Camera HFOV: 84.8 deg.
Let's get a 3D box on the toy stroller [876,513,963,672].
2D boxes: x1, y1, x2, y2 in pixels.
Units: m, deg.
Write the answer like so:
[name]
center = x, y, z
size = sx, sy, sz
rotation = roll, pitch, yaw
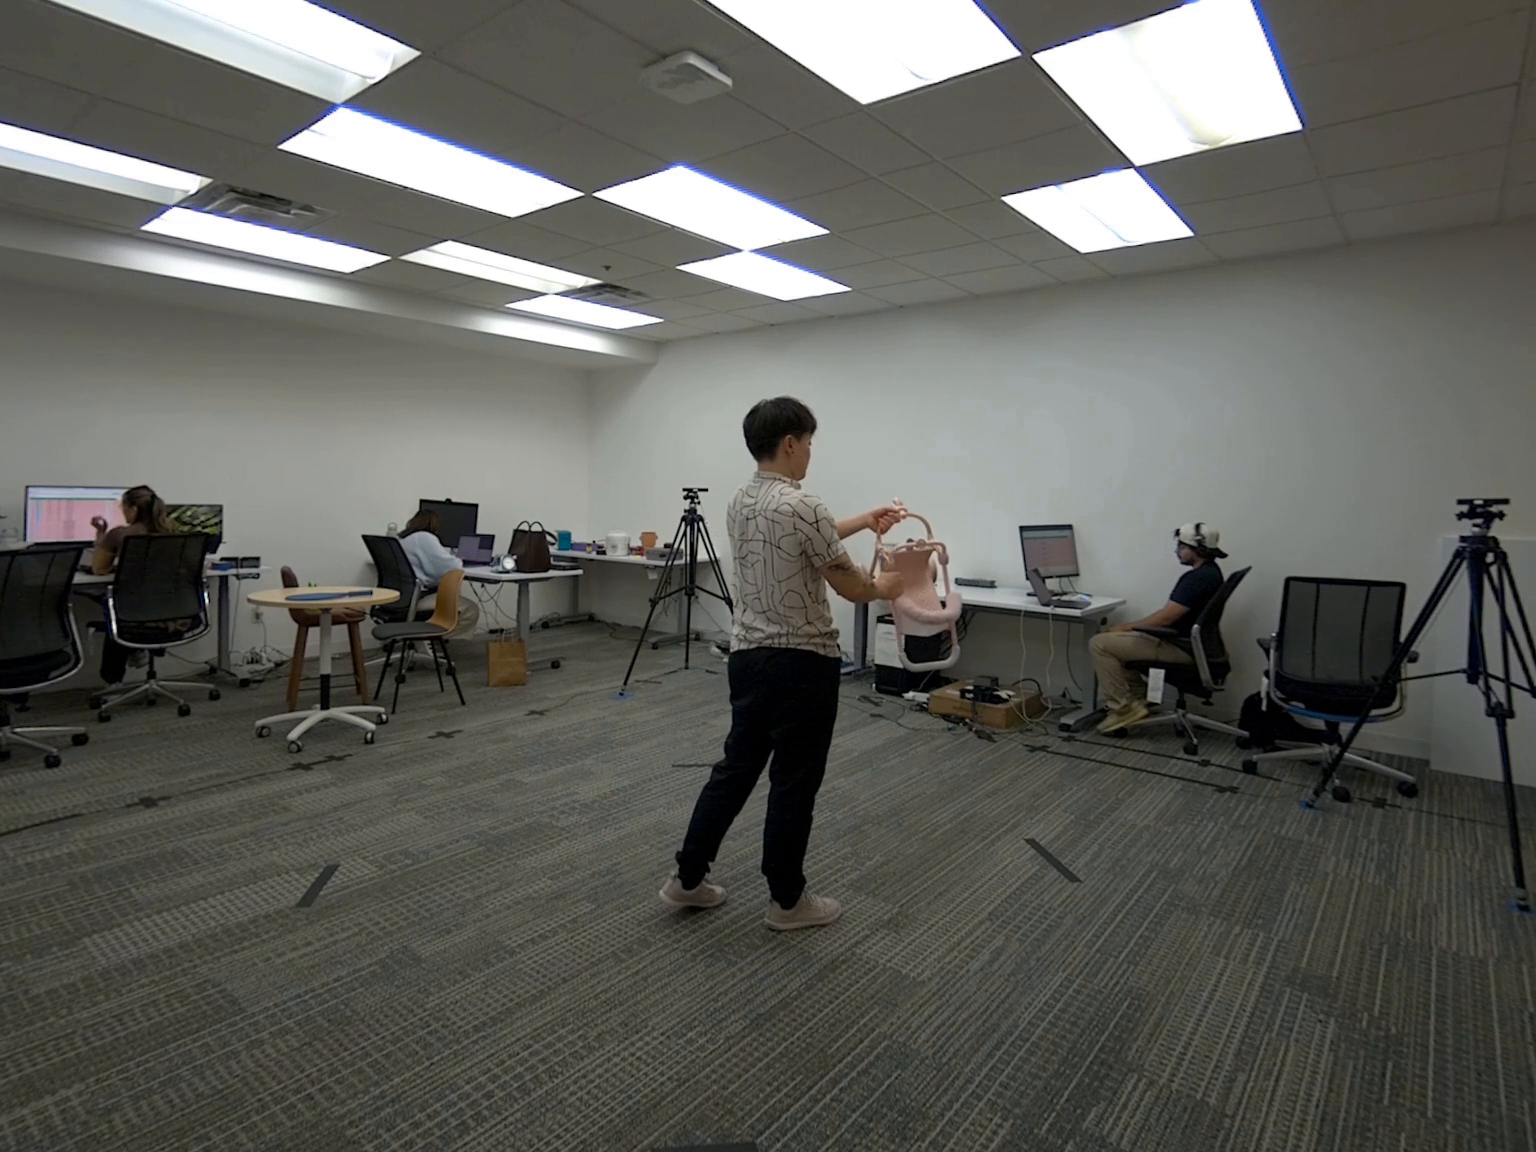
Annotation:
[toy stroller]
center = 0.488, 0.011, 2.884
size = 0.278, 0.333, 0.554
rotation = -2, 41, -11
